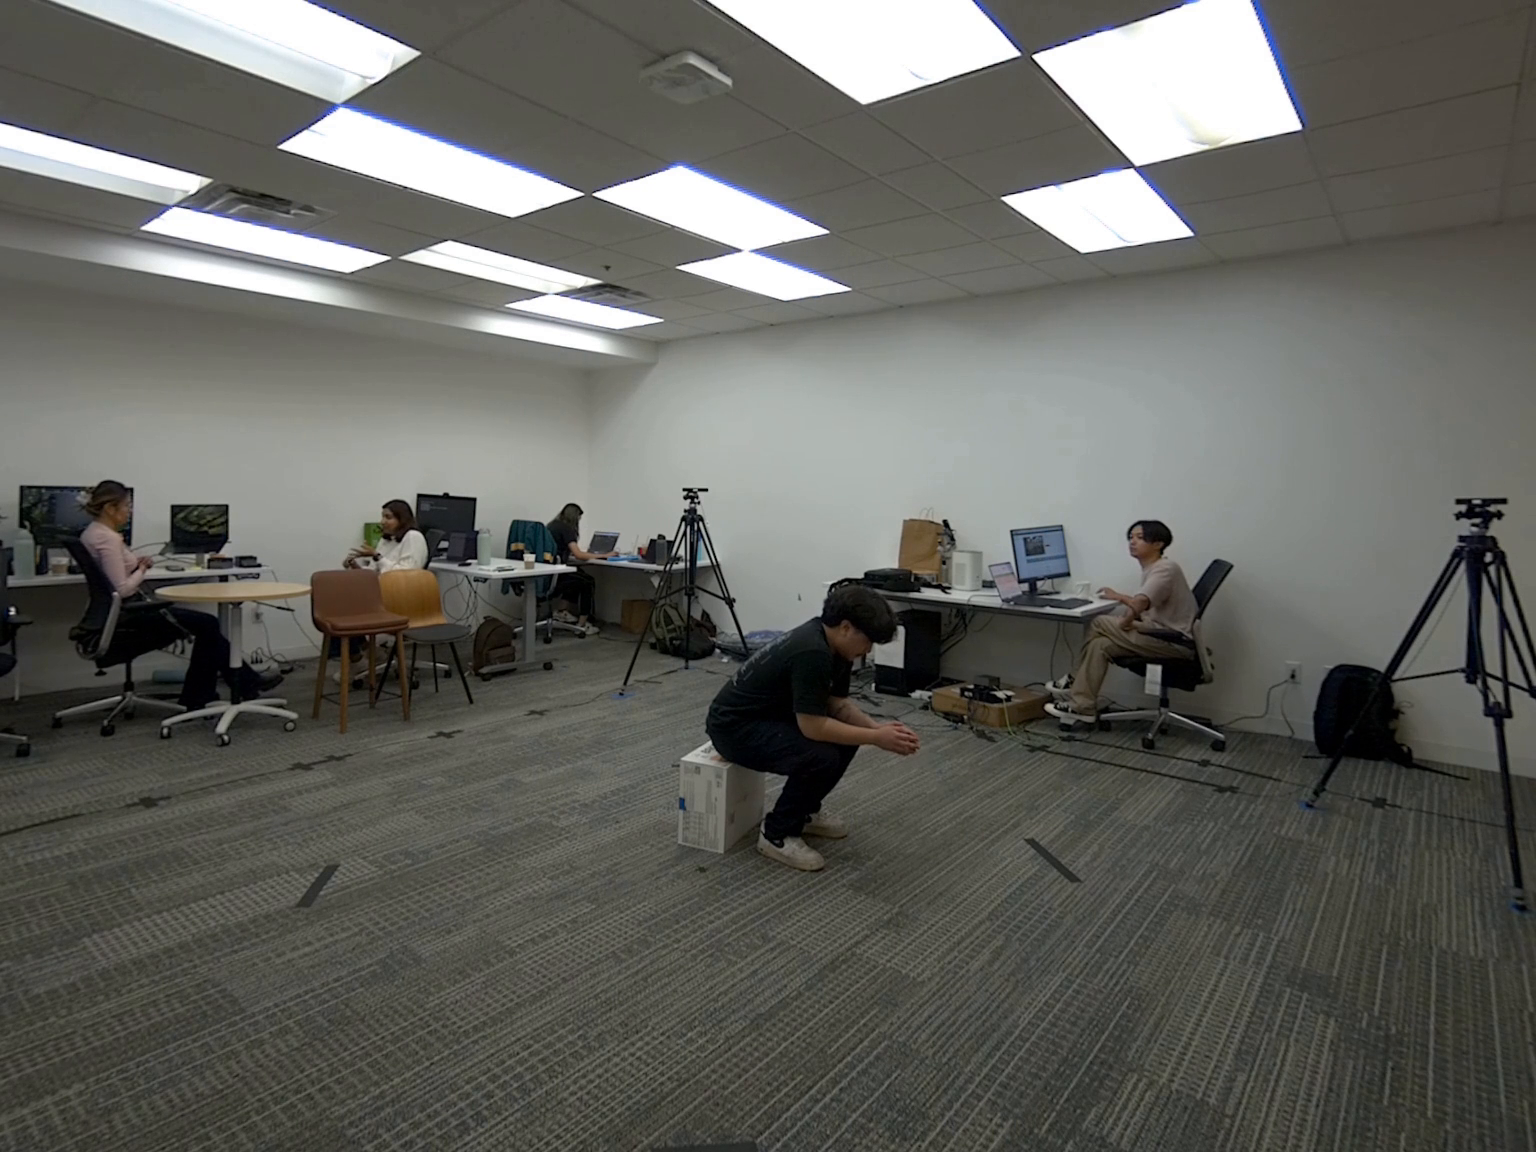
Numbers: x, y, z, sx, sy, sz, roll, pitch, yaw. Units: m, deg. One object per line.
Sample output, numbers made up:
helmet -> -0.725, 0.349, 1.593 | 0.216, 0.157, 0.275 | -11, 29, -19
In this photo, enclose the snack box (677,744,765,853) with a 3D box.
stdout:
snack box -> -0.193, 0.870, 3.460 | 0.211, 0.339, 0.397 | 2, 5, 23
